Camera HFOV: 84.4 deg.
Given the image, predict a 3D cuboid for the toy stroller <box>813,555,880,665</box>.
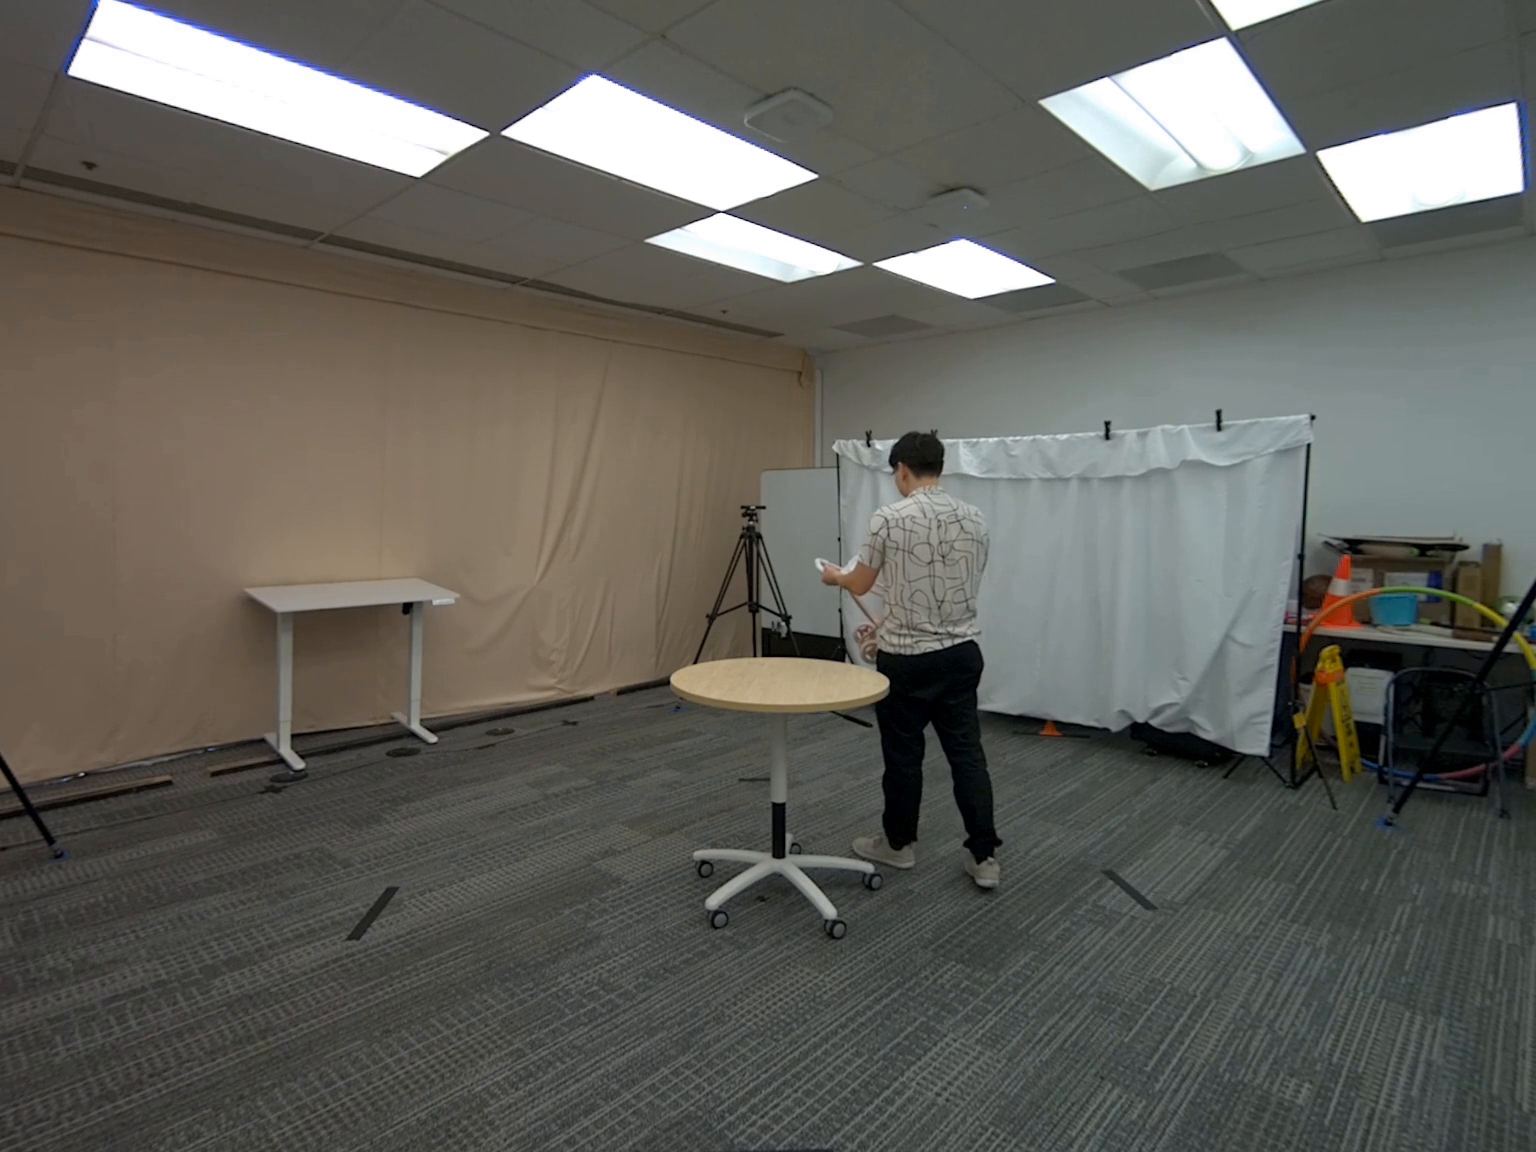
[{"bbox_3d":[0.476,0.111,3.610,0.344,0.530,0.282,-24,10,11],"label":"toy stroller"}]
